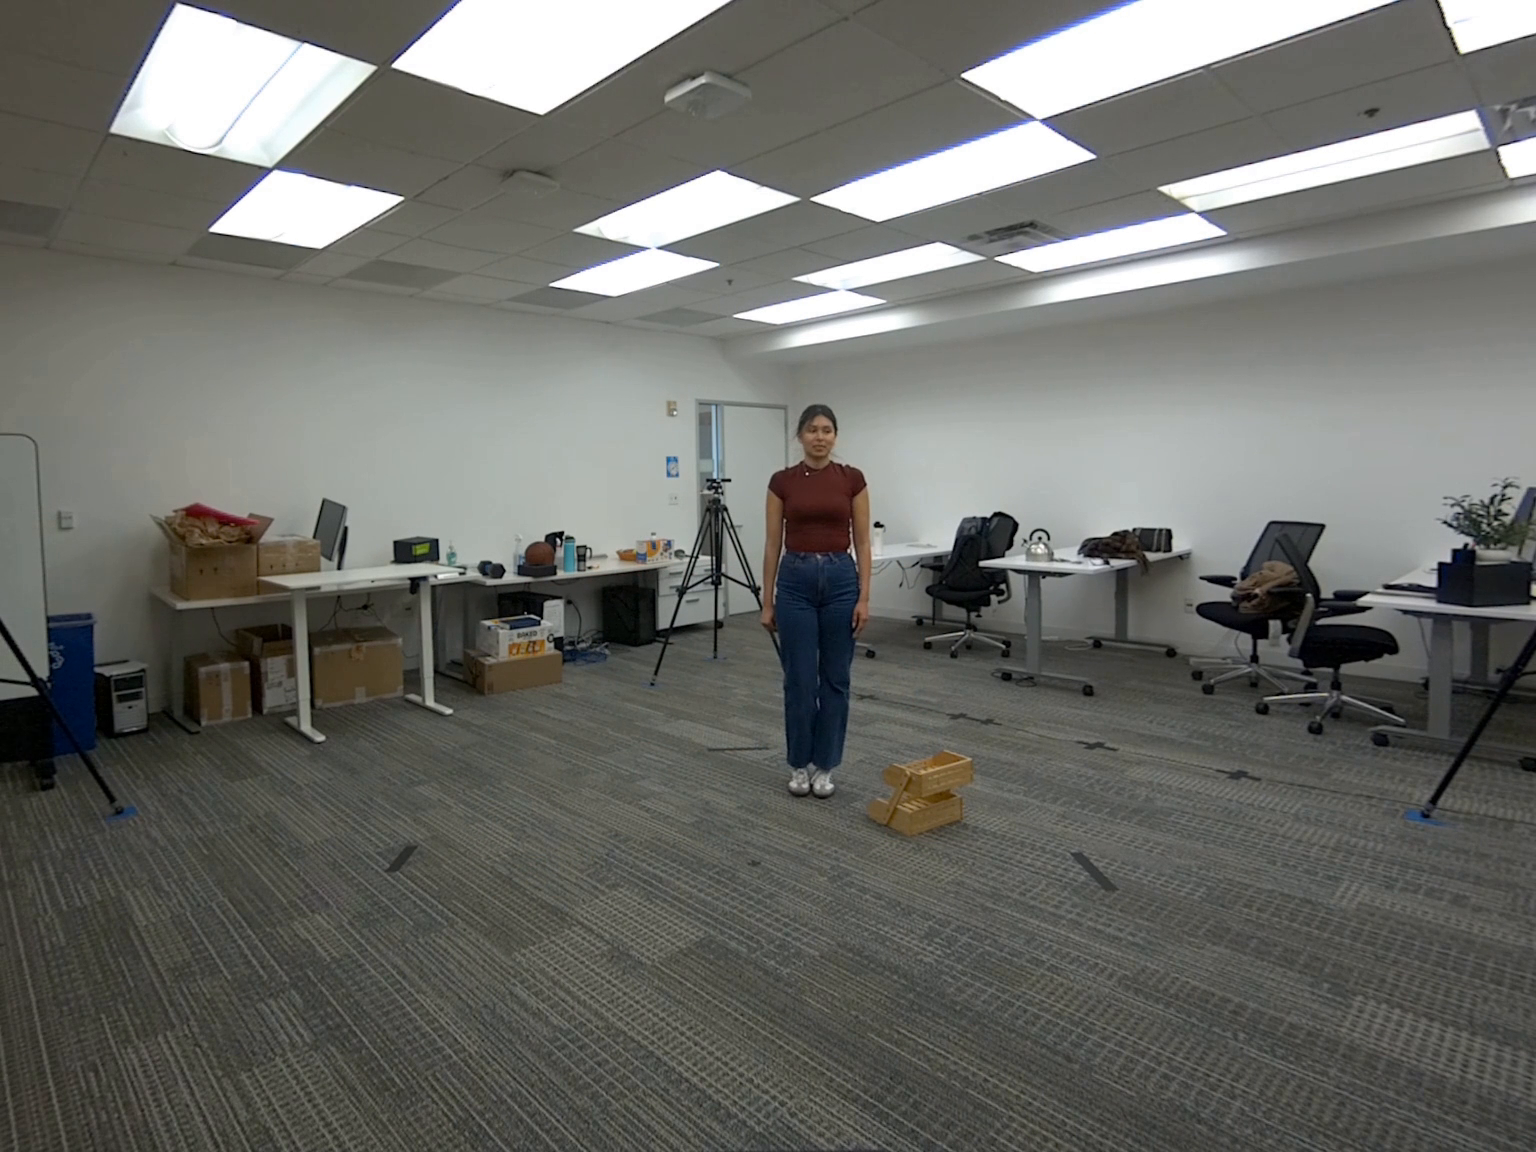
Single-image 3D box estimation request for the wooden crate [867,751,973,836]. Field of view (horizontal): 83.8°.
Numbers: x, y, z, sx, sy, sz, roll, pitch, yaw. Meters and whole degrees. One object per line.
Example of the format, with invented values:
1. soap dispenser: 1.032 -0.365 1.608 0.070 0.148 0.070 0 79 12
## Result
1. wooden crate: 0.612 0.858 3.473 0.316 0.272 0.311 -5 7 -36
